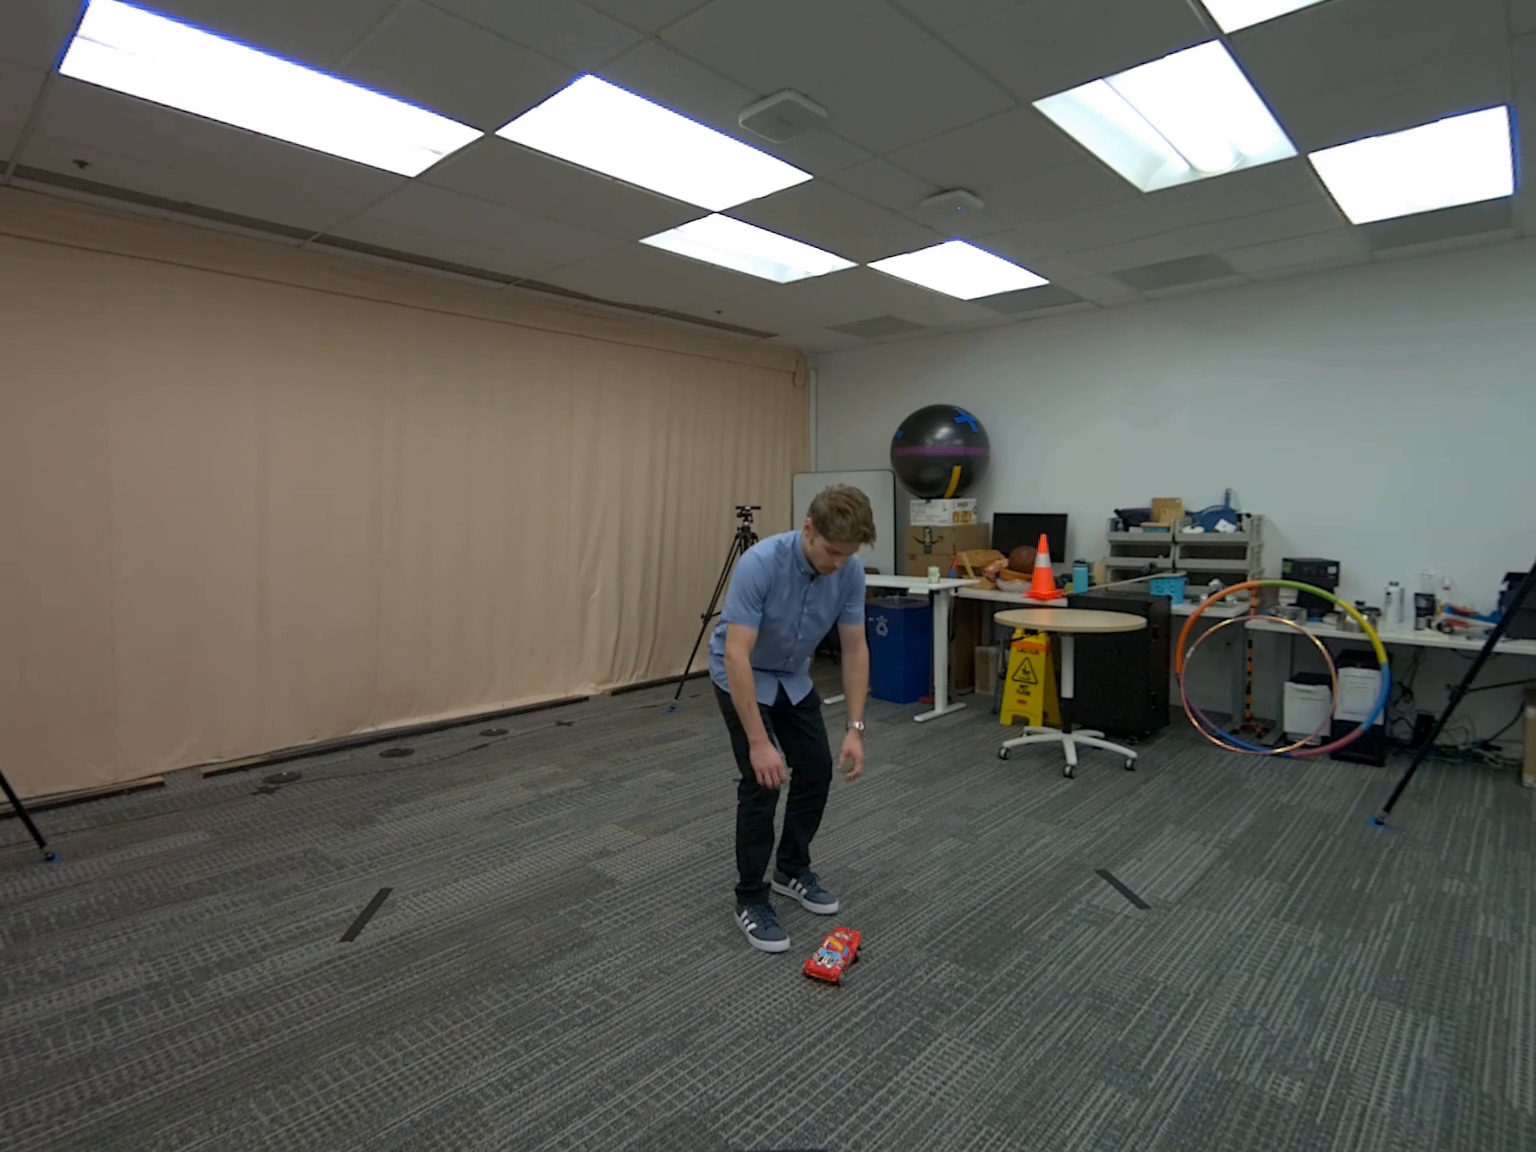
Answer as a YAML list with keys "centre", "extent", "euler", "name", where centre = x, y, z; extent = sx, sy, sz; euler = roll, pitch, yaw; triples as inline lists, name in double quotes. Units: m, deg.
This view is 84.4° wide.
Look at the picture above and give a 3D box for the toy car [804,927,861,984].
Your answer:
- centre: [0.213, 1.154, 2.549]
  extent: [0.134, 0.082, 0.250]
  euler: [1, 17, 27]
  name: "toy car"
